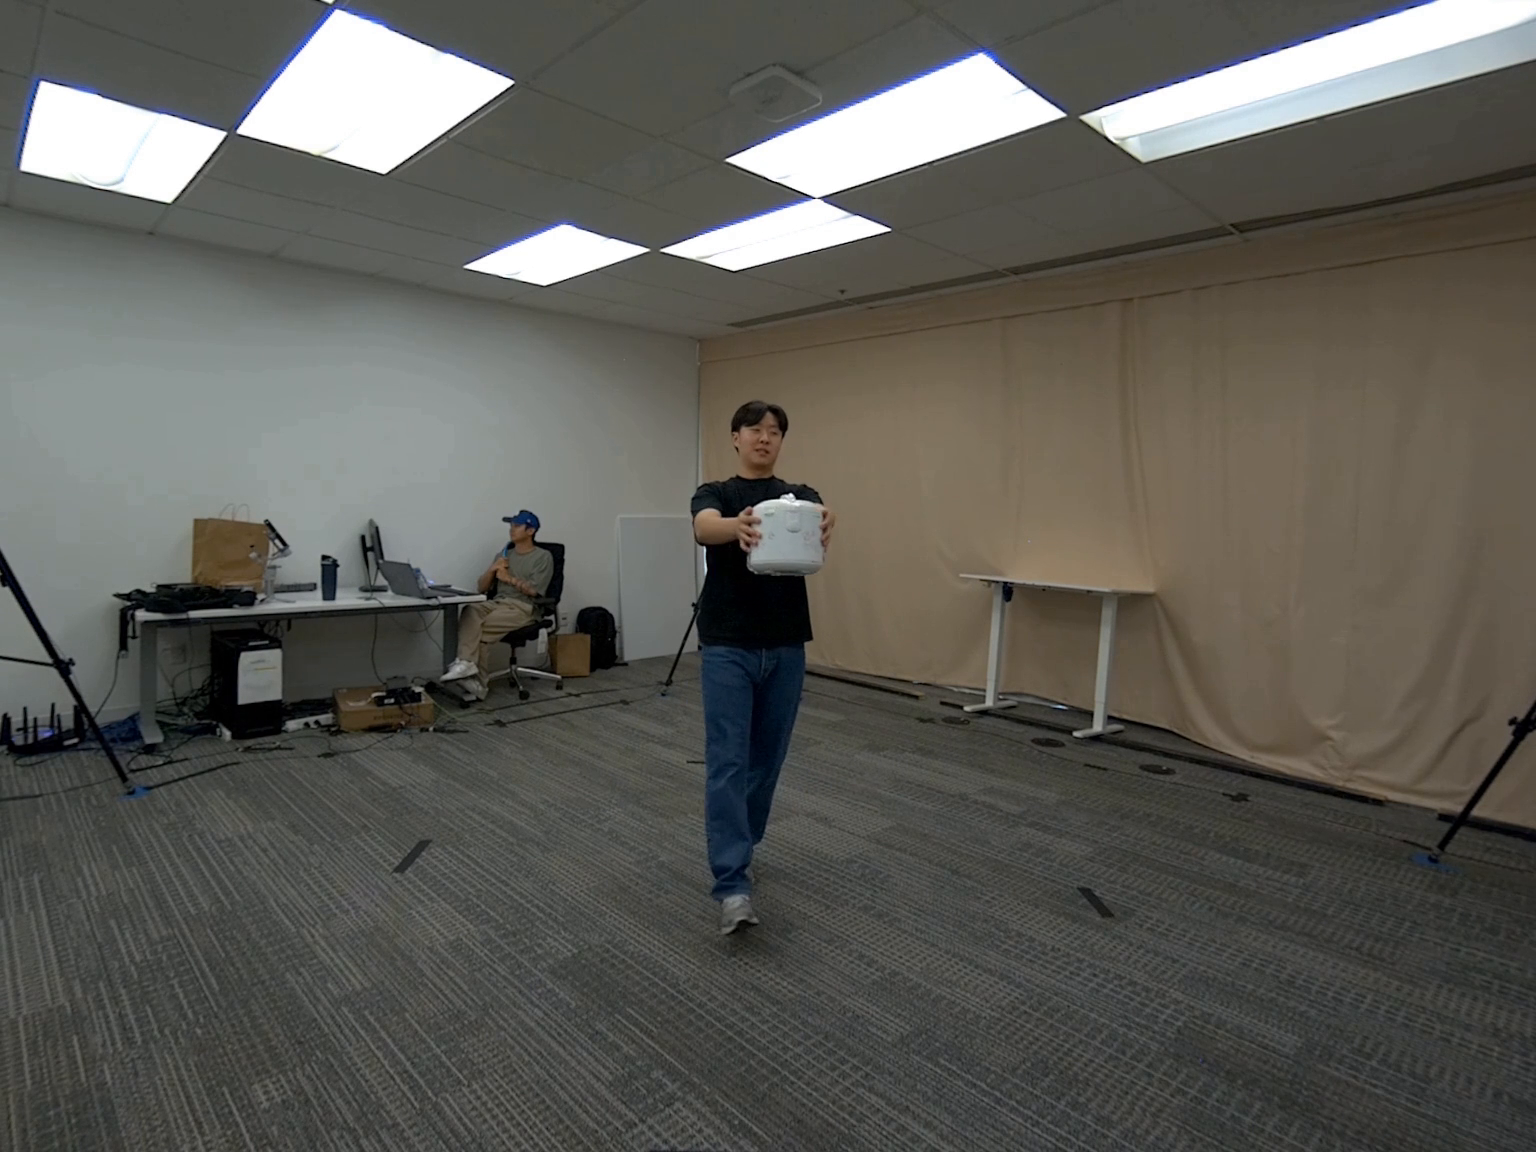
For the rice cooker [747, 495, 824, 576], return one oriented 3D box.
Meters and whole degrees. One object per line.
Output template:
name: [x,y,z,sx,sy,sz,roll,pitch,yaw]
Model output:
rice cooker: [0.048,-0.121,2.461,0.216,0.234,0.221,1,-4,-8]
